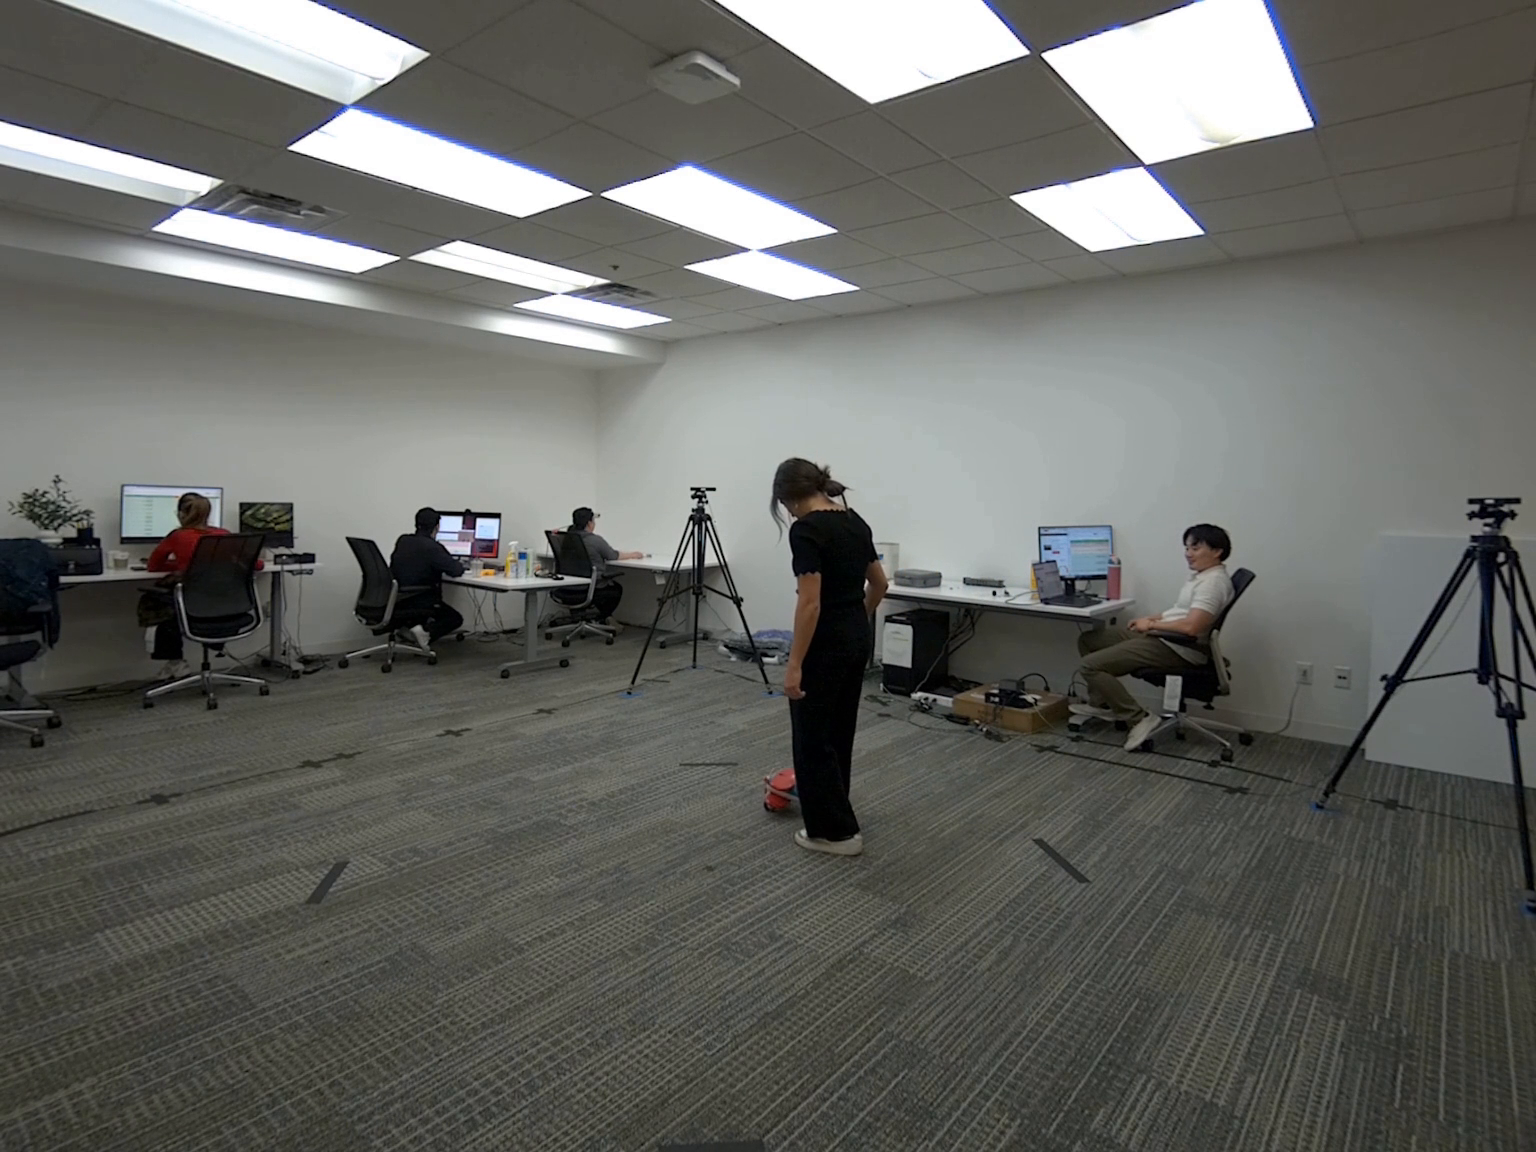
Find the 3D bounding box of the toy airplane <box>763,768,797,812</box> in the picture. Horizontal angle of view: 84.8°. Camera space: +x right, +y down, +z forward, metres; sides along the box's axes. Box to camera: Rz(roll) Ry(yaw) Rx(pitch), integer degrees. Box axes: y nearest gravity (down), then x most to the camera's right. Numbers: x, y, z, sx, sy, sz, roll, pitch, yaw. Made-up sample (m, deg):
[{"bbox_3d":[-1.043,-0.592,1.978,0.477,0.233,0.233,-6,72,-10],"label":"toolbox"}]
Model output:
[{"bbox_3d":[0.103,0.937,3.701,0.258,0.156,0.253,-2,5,-5],"label":"toy airplane"}]
